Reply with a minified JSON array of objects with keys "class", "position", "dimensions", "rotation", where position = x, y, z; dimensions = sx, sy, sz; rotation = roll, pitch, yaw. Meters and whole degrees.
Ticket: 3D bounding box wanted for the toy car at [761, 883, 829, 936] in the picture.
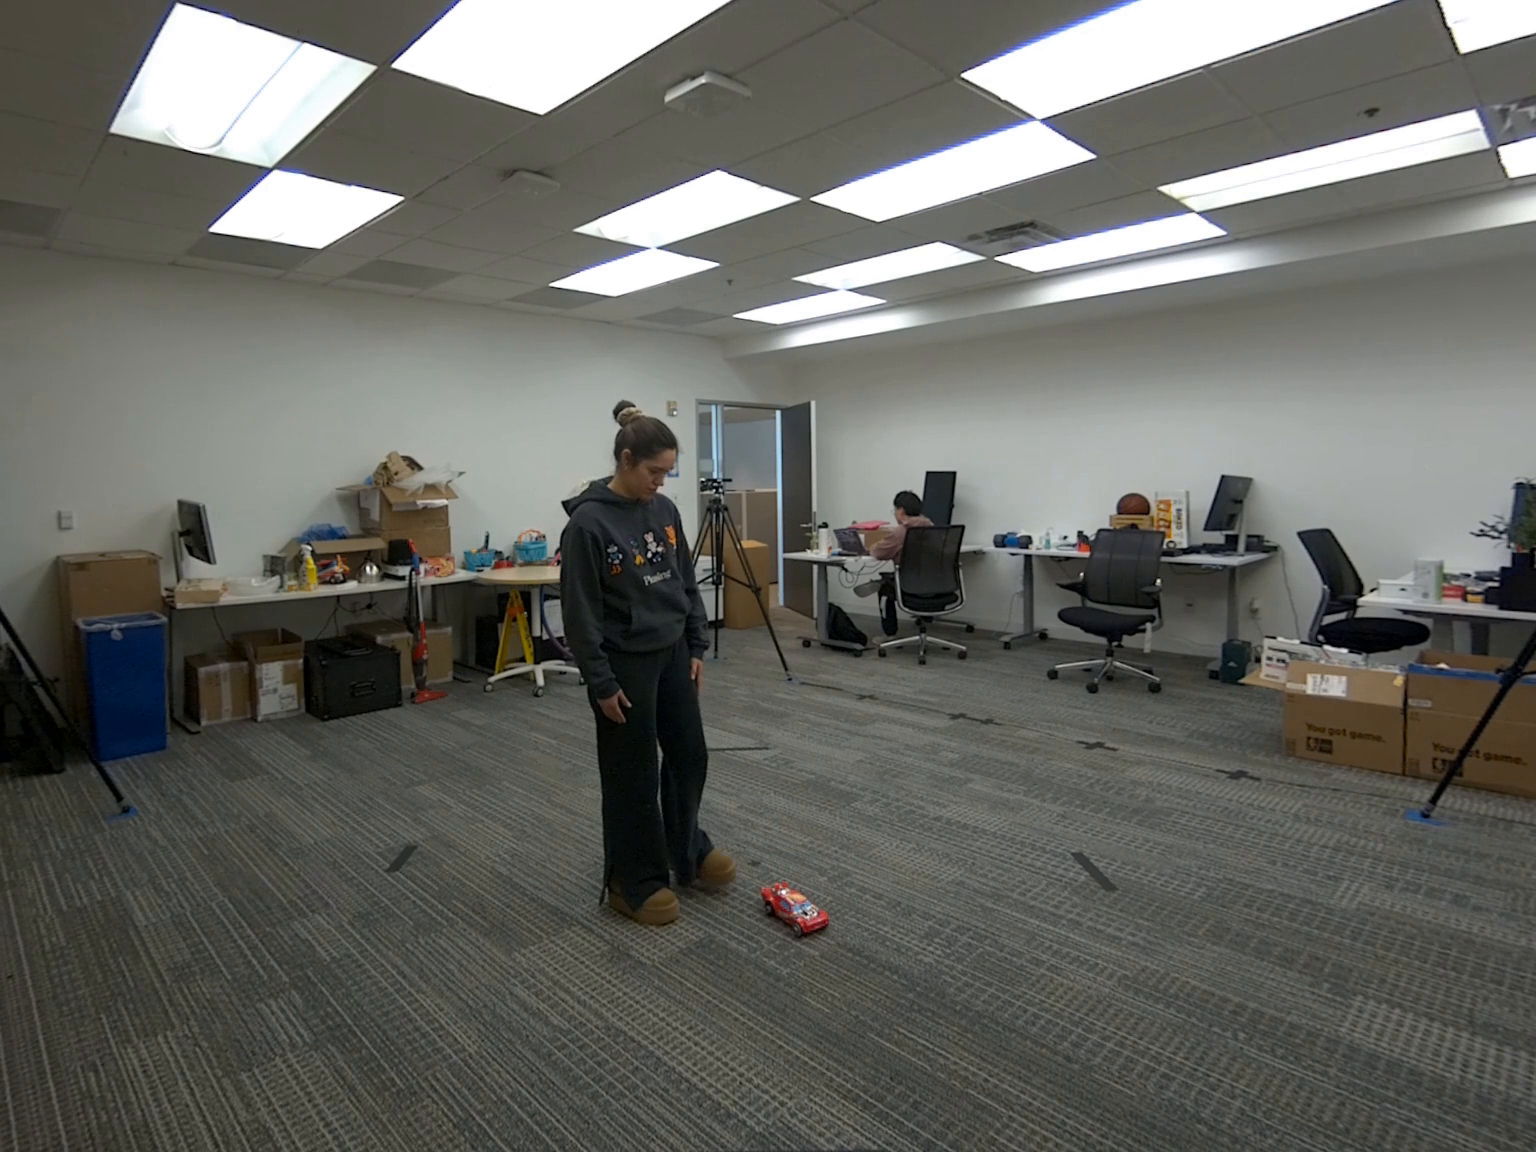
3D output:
[{"class":"toy car","position":[0.078,1.051,2.691],"dimensions":[0.127,0.082,0.264],"rotation":[-5,18,-33]}]
